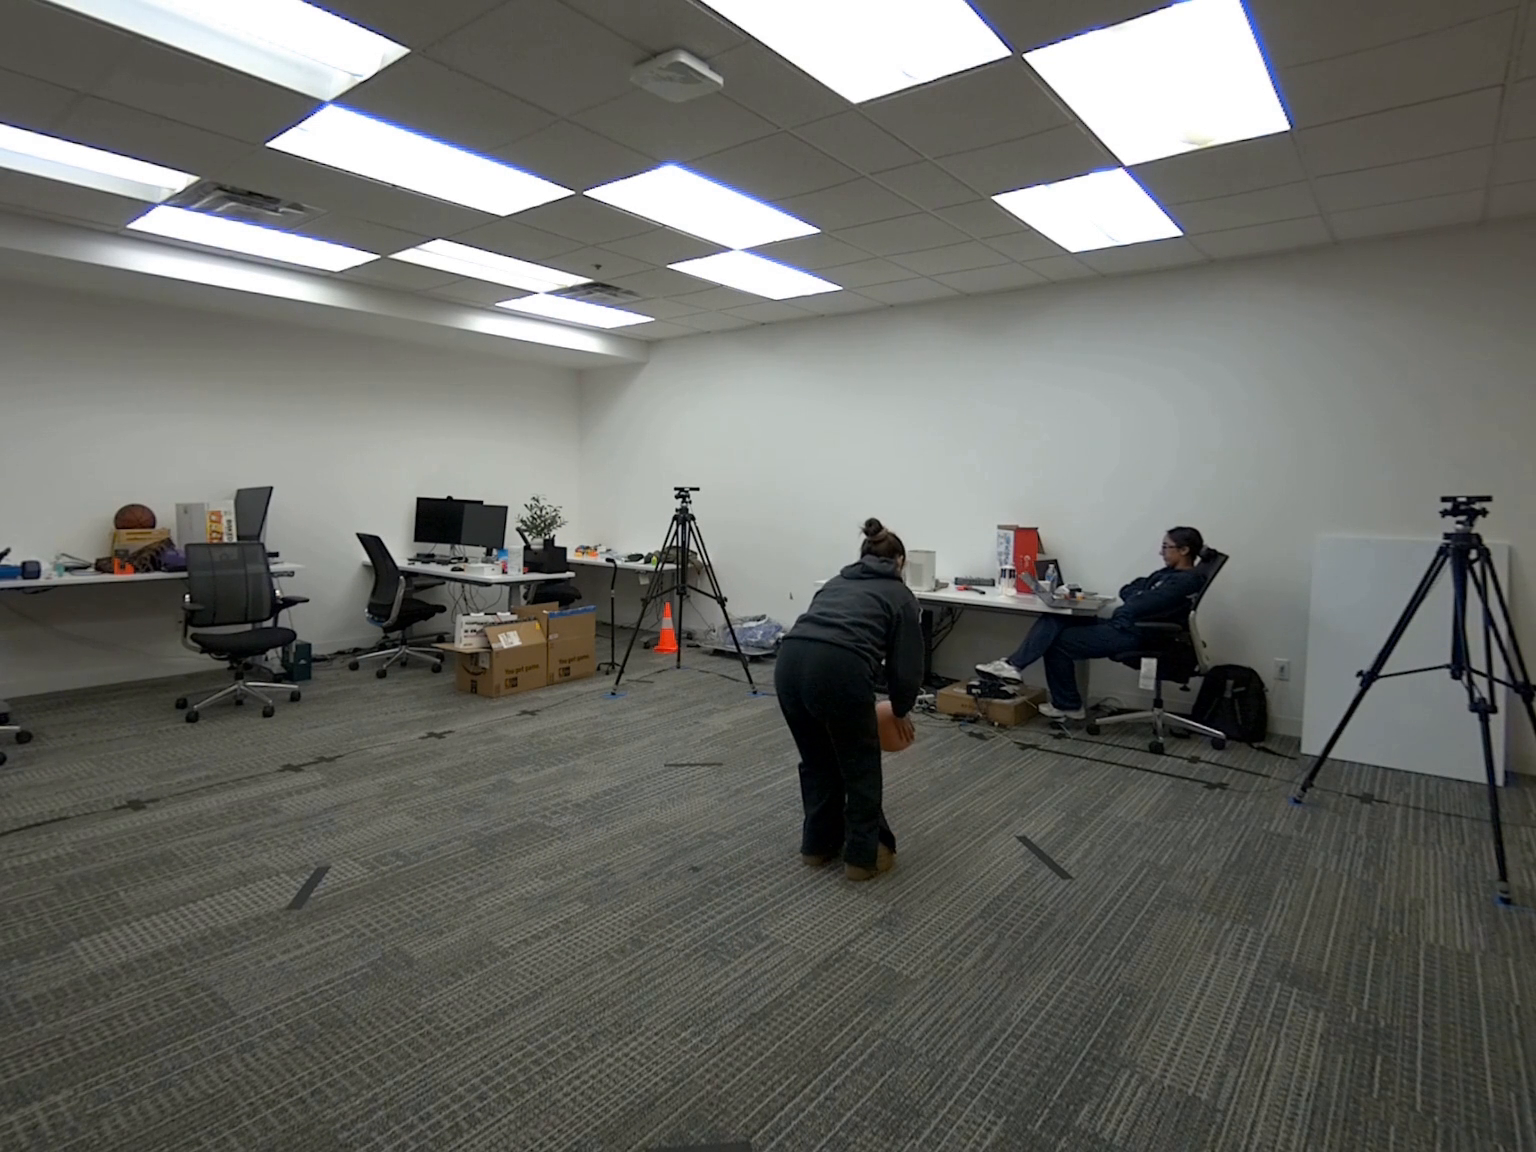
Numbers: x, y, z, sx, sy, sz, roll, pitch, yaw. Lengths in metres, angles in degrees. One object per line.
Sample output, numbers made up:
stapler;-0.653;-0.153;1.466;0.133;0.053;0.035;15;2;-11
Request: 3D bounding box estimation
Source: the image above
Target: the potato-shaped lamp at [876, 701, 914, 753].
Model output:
potato-shaped lamp;0.487;0.591;3.417;0.170;0.195;0.168;-1;16;45
